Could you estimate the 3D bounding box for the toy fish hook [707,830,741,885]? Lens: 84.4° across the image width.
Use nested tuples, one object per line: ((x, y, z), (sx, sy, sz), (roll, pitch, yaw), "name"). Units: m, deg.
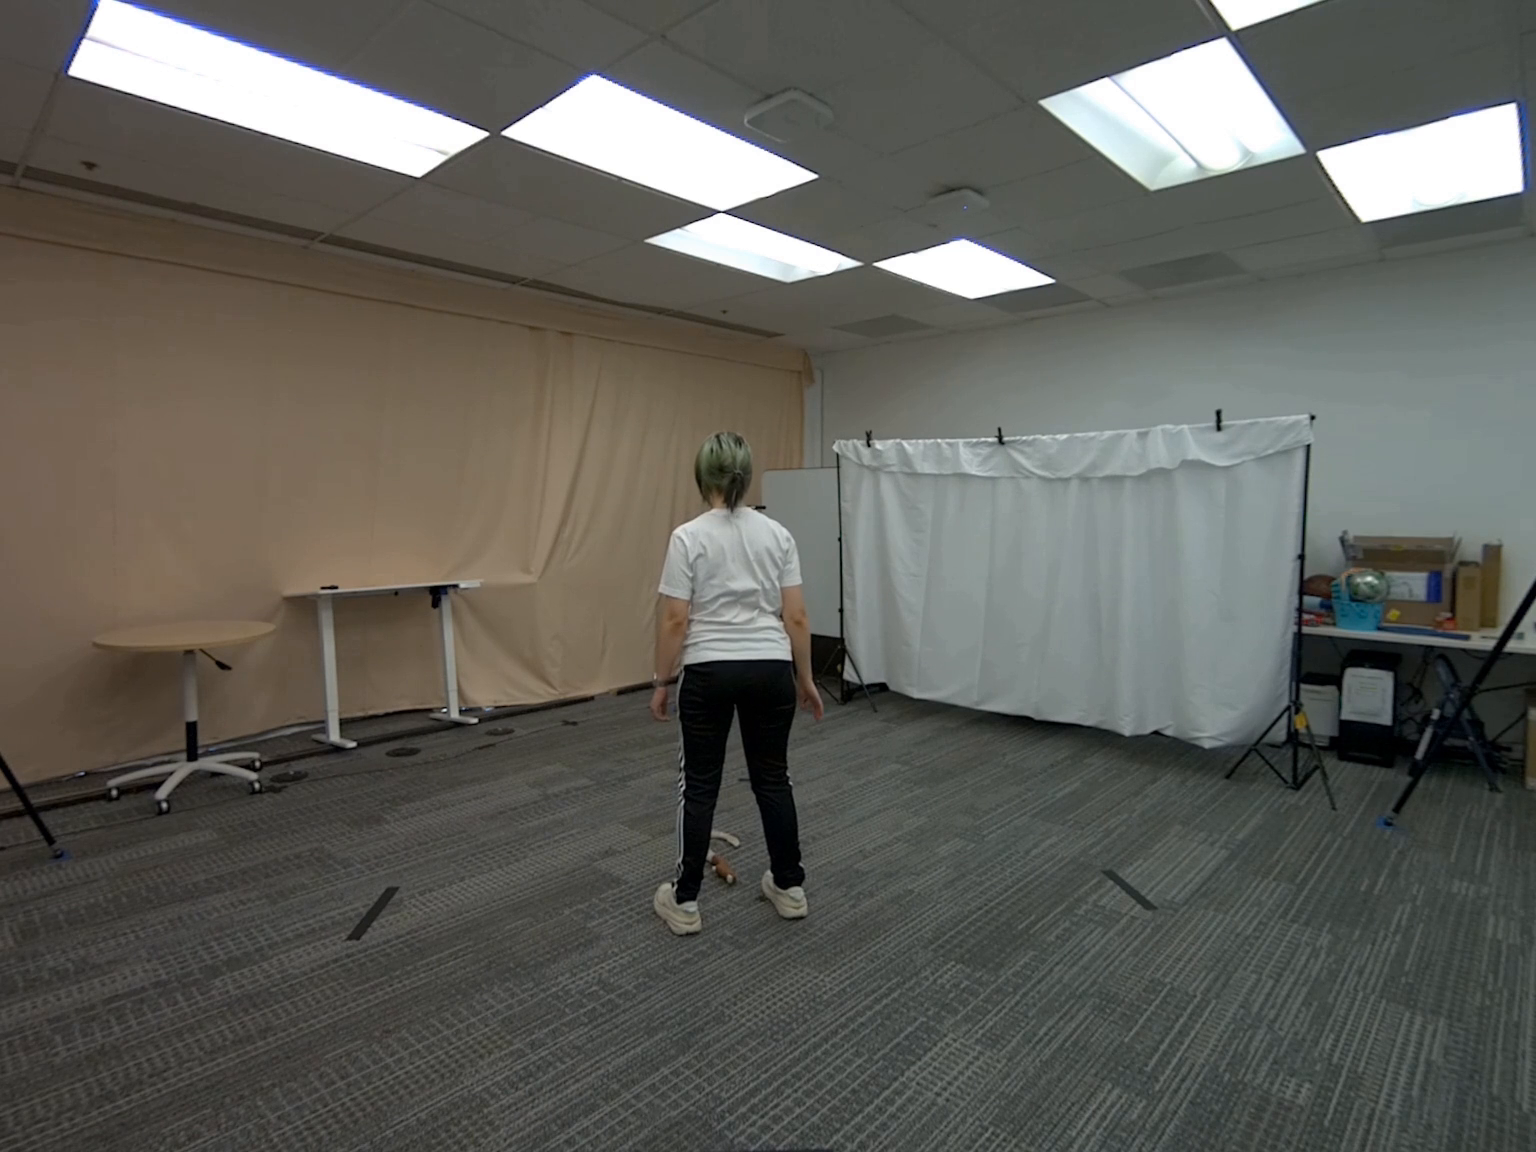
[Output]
((-0.178, 1.094, 3.327), (0.220, 0.048, 0.519), (-3, 6, -23), "toy fish hook")
